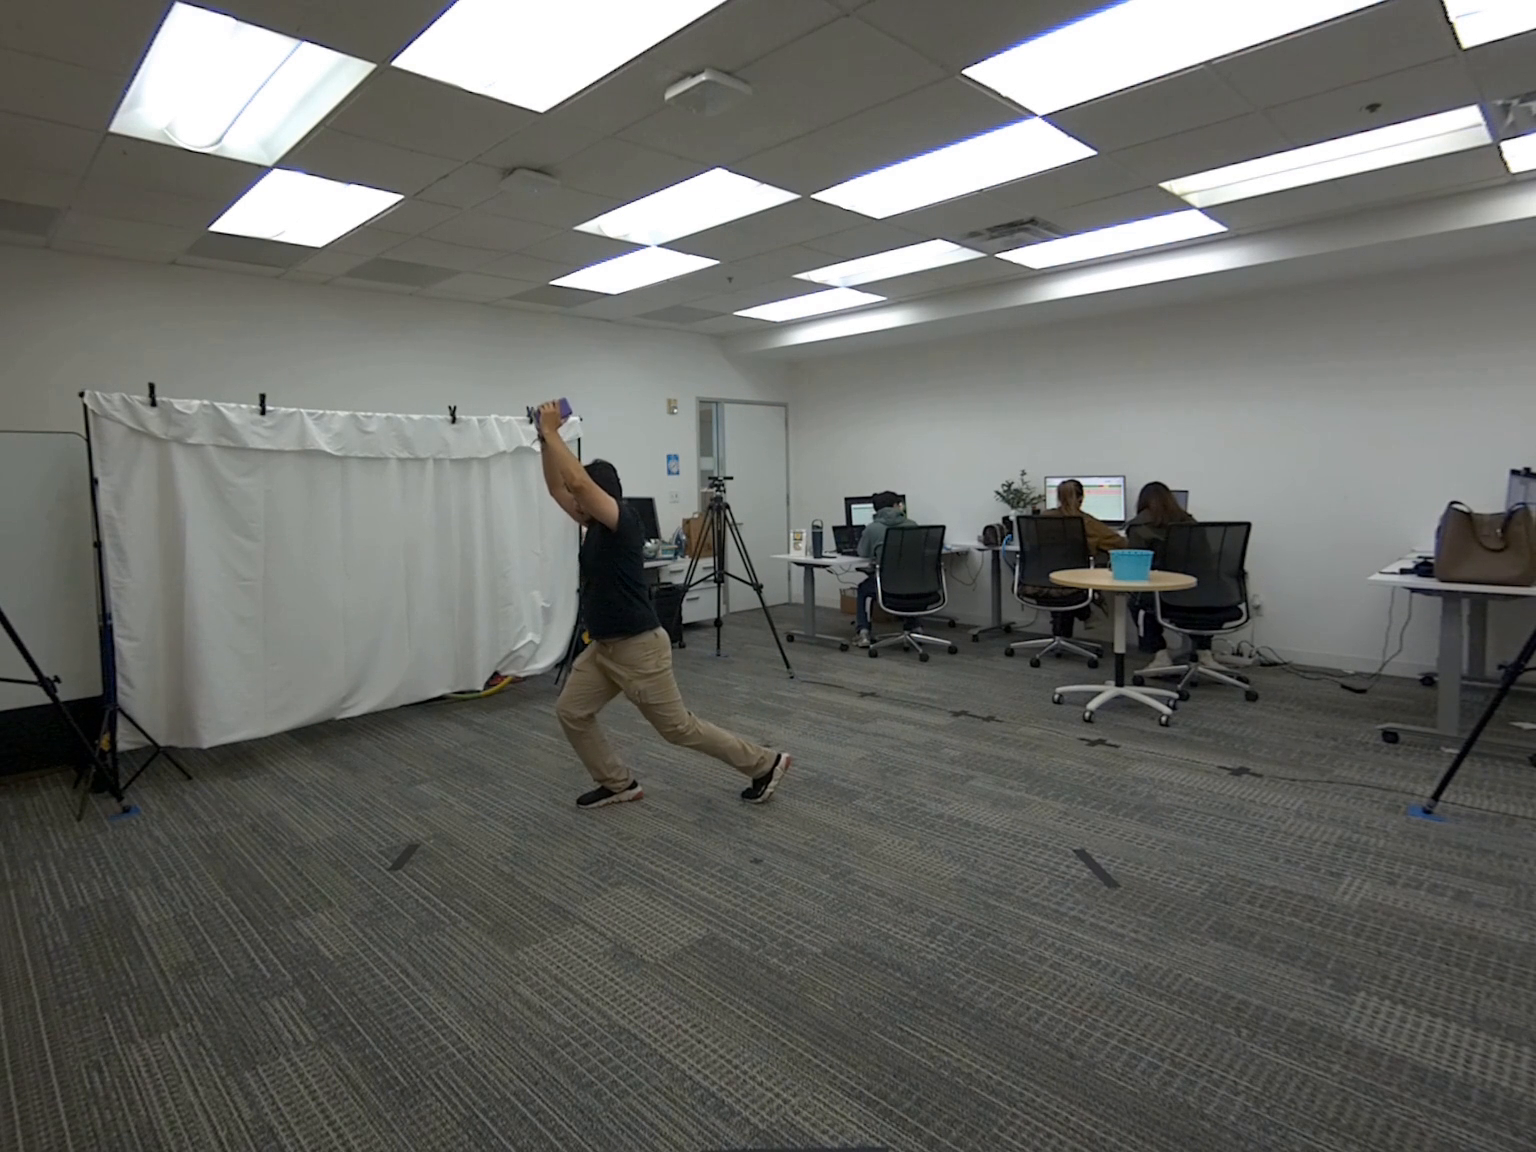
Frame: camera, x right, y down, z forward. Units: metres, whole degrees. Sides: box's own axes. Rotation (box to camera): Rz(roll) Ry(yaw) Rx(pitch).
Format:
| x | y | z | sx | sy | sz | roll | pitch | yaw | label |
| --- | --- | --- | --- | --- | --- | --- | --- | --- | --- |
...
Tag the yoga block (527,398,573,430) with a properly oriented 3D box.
| x | y | z | sx | sy | sz | roll | pitch | yaw | label |
| --- | --- | --- | --- | --- | --- | --- | --- | --- | --- |
| -0.897 | -0.678 | 3.545 | 0.148 | 0.075 | 0.234 | -28 | 14 | -9 | yoga block |
